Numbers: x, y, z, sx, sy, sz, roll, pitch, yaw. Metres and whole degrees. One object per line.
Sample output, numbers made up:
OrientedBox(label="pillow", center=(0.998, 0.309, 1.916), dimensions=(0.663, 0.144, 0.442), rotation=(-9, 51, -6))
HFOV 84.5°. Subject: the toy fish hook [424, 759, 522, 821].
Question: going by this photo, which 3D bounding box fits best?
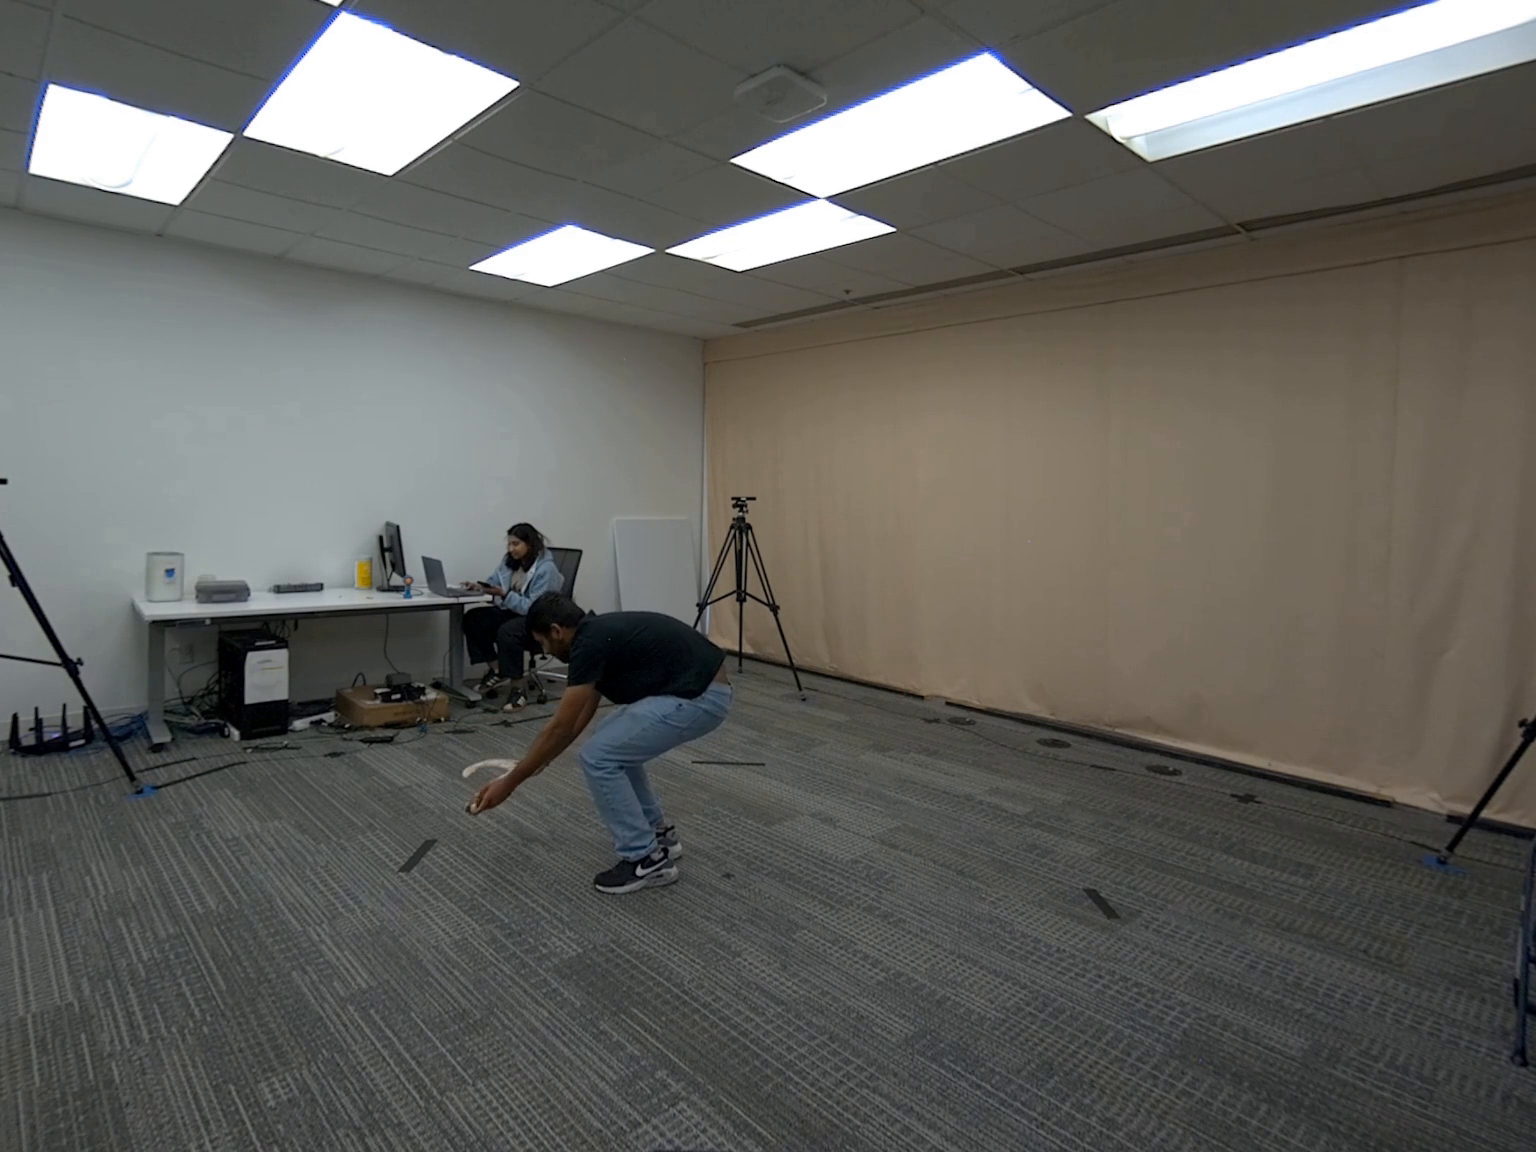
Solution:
OrientedBox(label="toy fish hook", center=(-1.075, 0.792, 3.175), dimensions=(0.225, 0.048, 0.507), rotation=(-2, 5, 1))
